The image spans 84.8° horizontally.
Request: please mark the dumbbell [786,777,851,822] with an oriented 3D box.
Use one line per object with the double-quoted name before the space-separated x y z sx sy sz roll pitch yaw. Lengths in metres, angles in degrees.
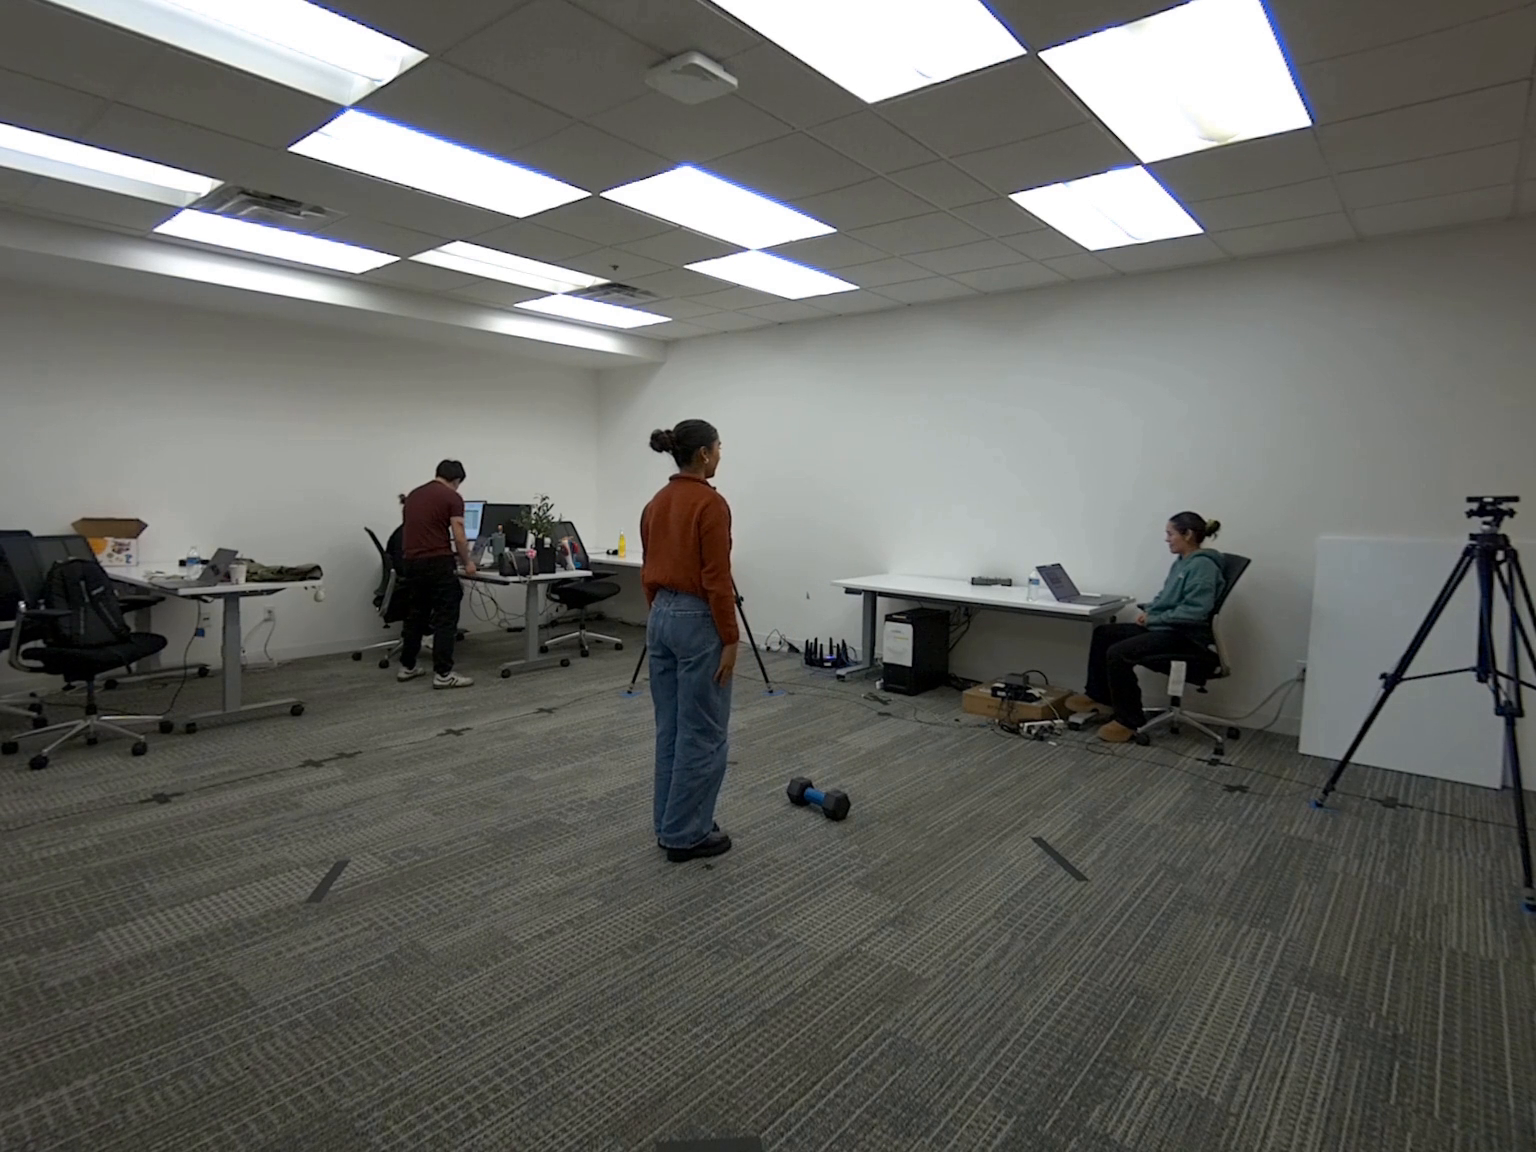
"dumbbell" 0.213 0.961 3.699 0.108 0.120 0.303 -38 27 -33
